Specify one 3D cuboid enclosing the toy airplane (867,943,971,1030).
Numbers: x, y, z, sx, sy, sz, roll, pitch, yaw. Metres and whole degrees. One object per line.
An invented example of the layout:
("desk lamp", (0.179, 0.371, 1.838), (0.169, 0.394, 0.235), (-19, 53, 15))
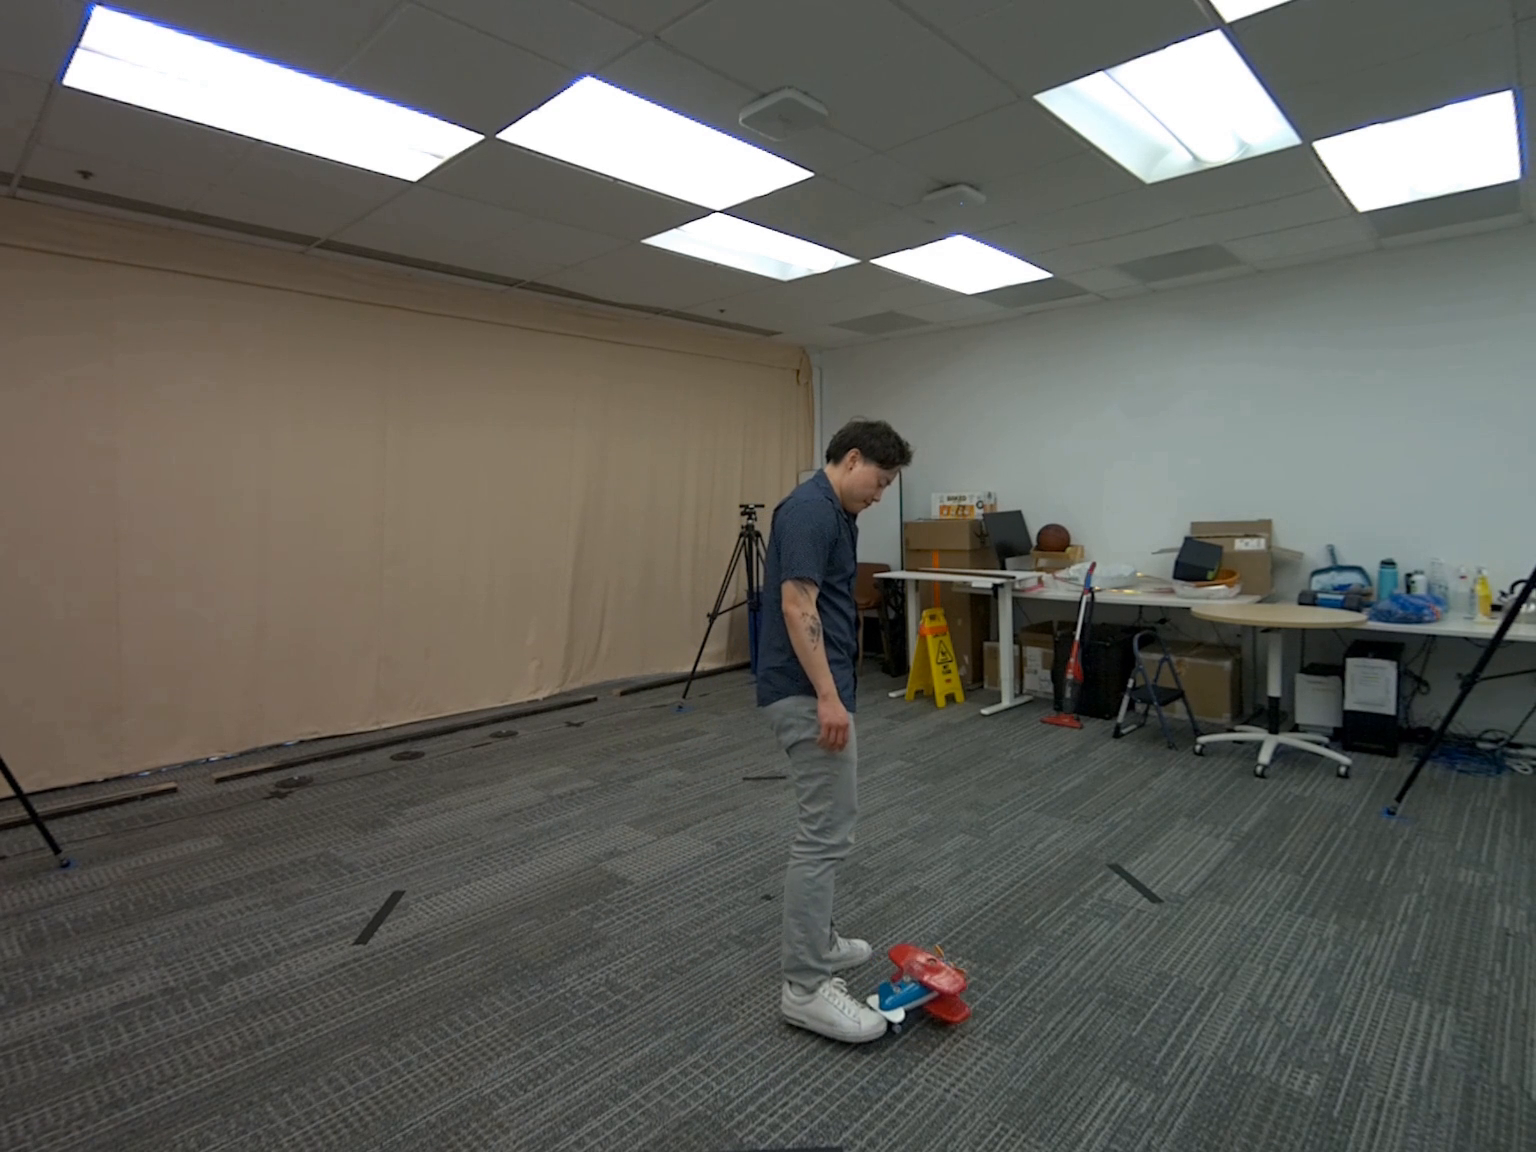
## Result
("toy airplane", (0.425, 1.124, 2.231), (0.259, 0.156, 0.251), (5, 2, 31))
